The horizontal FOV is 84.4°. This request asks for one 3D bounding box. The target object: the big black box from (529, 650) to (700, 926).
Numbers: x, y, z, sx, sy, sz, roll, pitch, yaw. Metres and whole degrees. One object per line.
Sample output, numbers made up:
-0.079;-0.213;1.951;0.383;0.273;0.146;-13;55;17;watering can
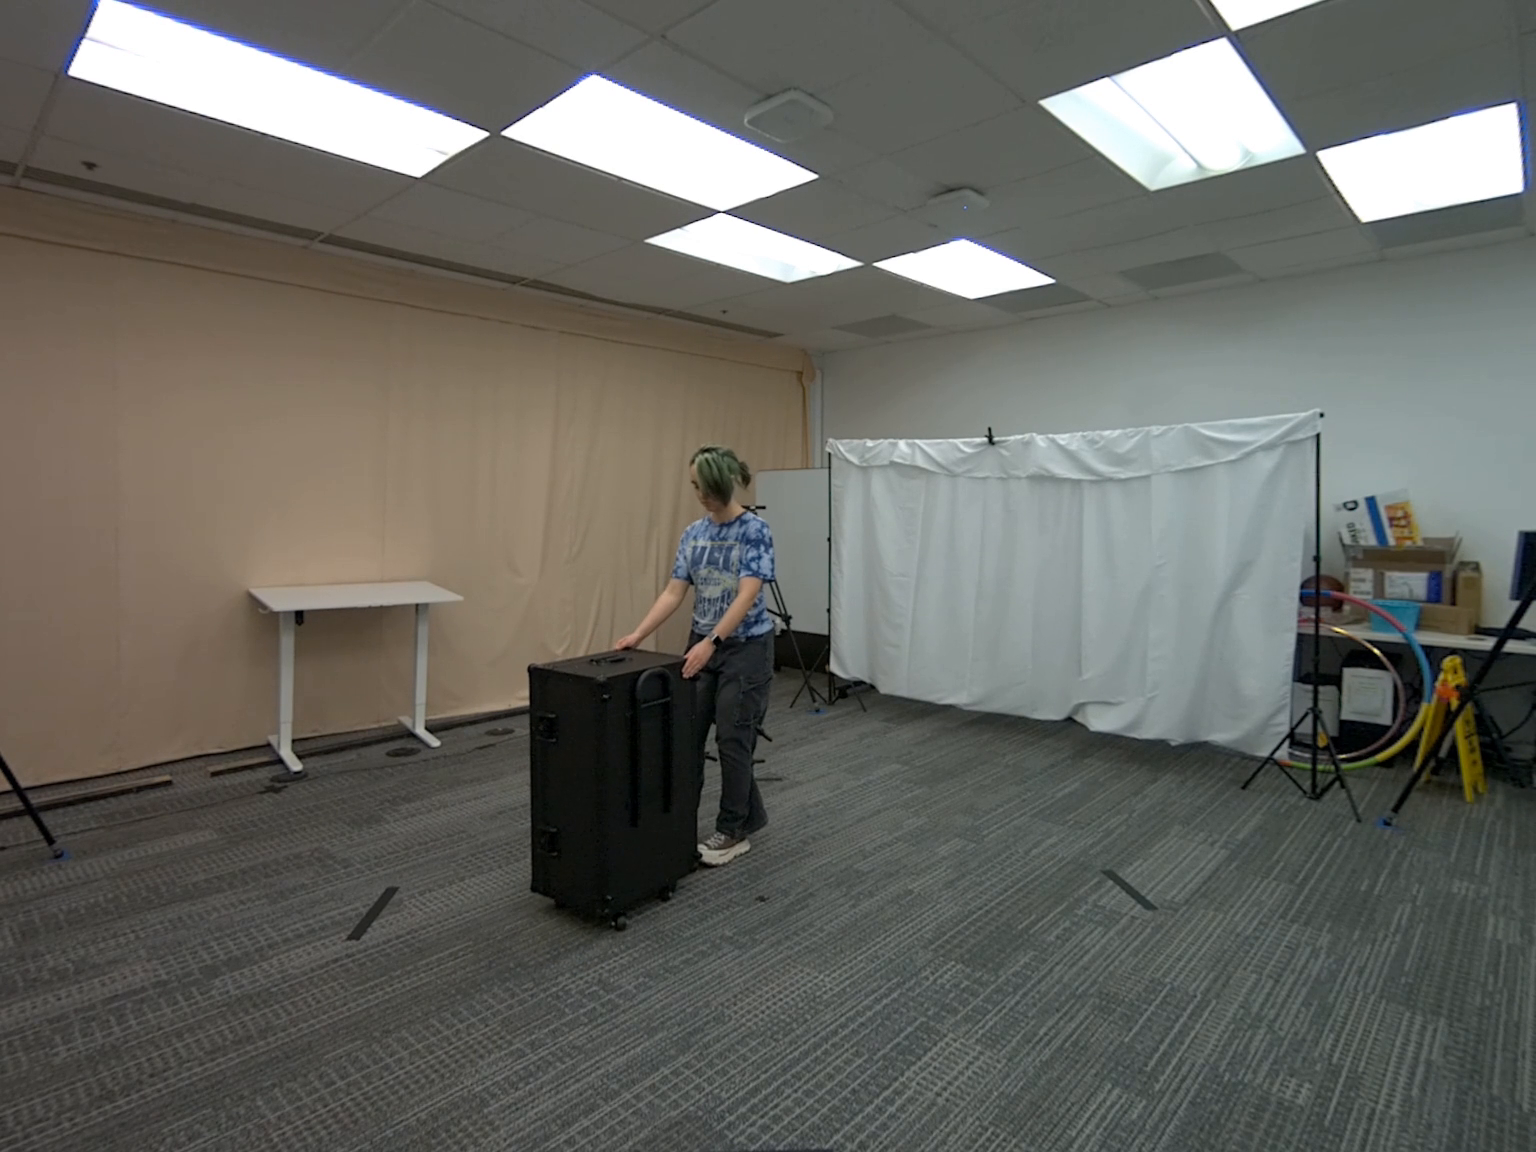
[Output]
-0.528;0.727;2.960;0.409;0.860;0.506;3;3;35;big black box
